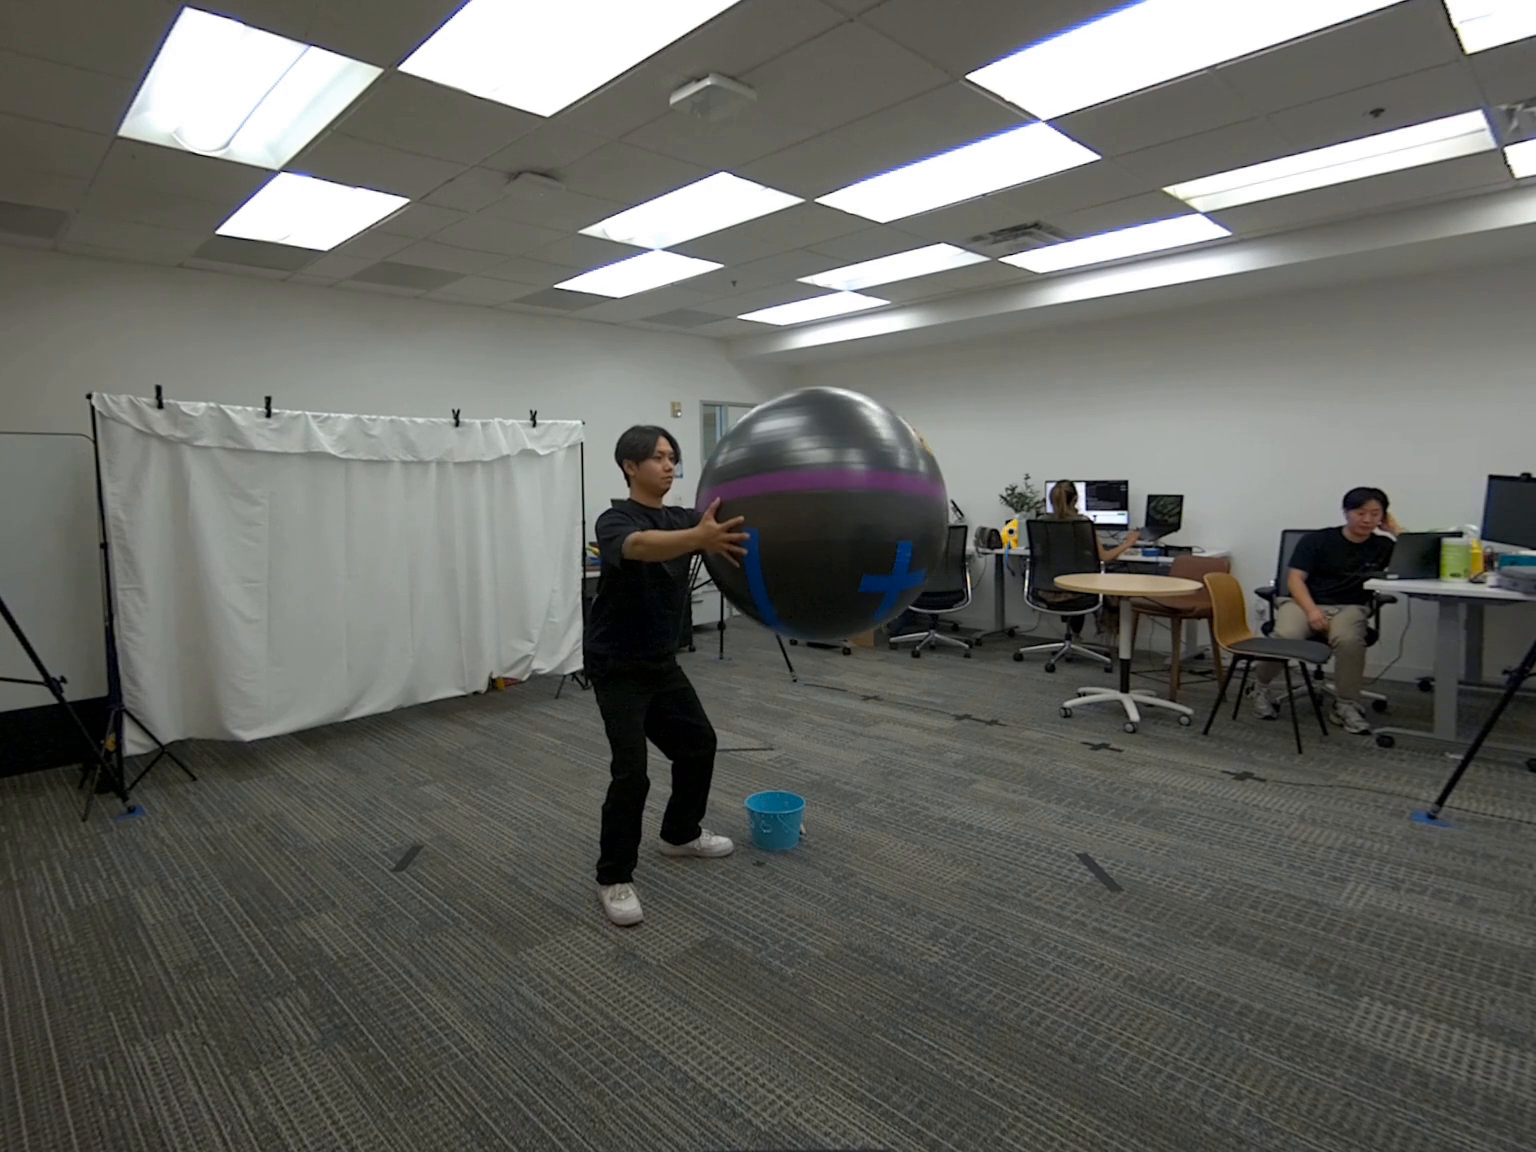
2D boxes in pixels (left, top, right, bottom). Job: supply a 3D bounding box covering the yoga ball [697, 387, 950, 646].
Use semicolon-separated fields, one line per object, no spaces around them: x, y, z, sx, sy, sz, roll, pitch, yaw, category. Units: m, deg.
0.157;-0.182;2.589;0.757;0.755;0.762;-1;5;-2;yoga ball
